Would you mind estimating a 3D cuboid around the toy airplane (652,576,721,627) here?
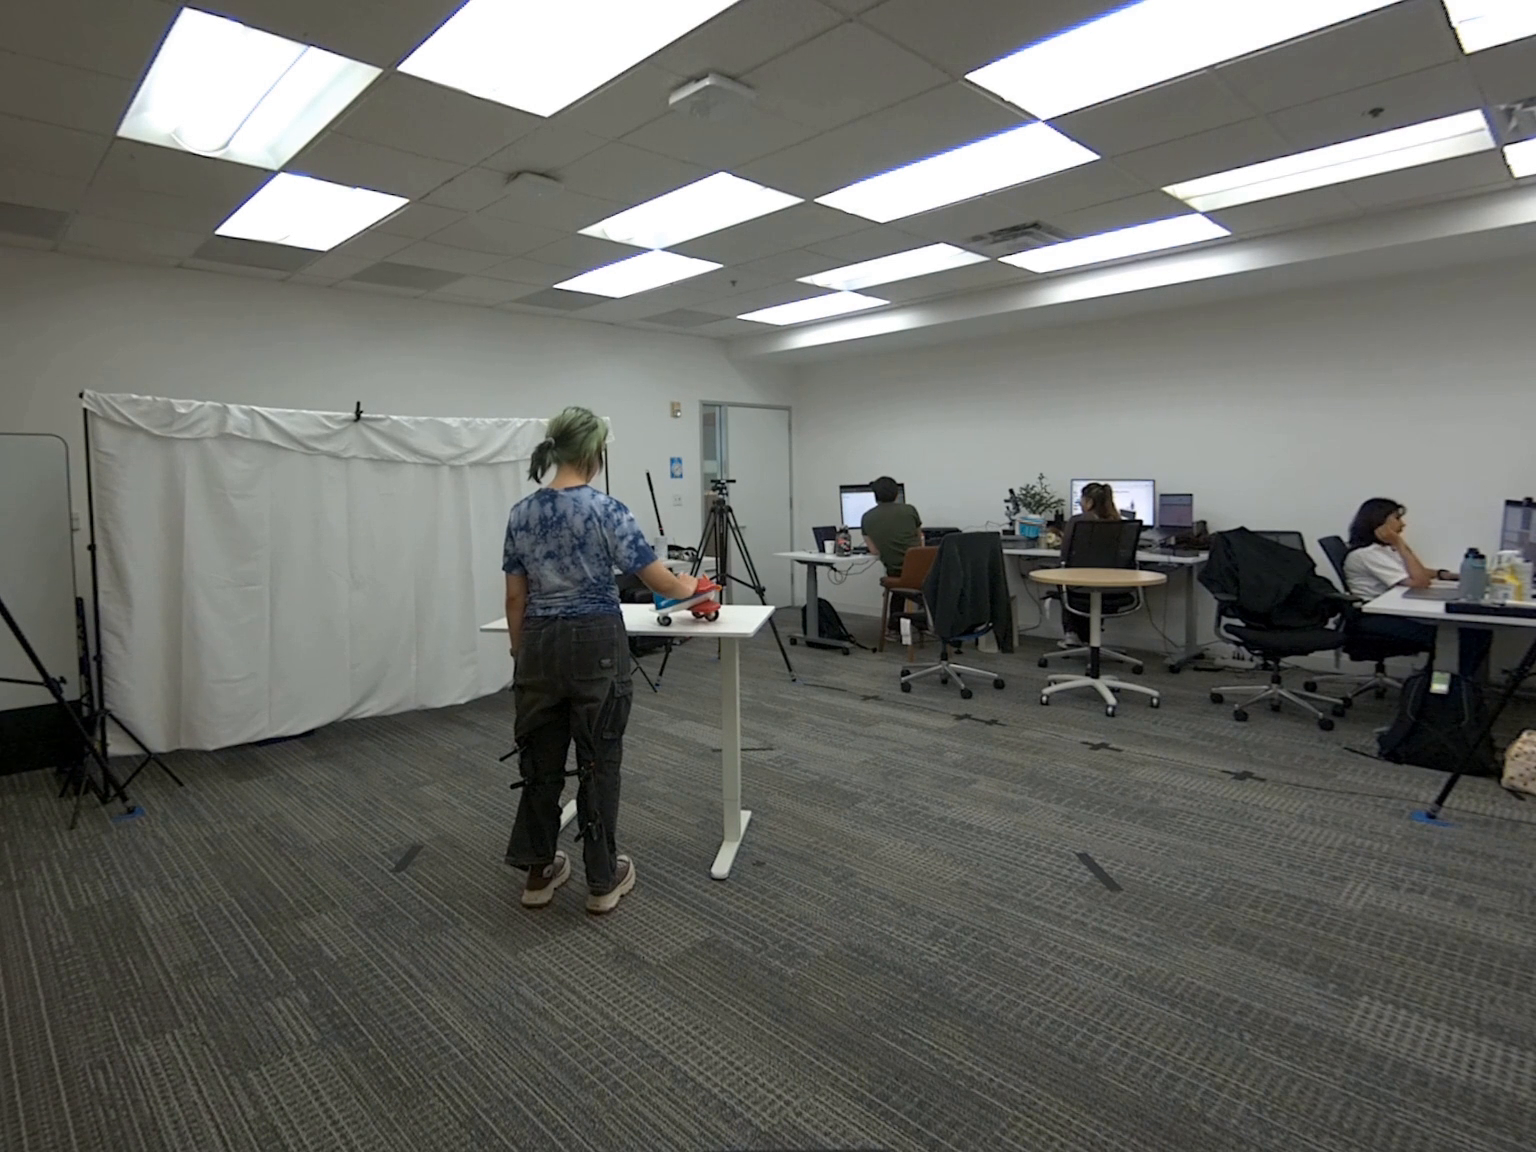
[{"bbox_3d":[-0.285,0.096,3.104,0.257,0.156,0.254,3,7,27],"label":"toy airplane"}]
